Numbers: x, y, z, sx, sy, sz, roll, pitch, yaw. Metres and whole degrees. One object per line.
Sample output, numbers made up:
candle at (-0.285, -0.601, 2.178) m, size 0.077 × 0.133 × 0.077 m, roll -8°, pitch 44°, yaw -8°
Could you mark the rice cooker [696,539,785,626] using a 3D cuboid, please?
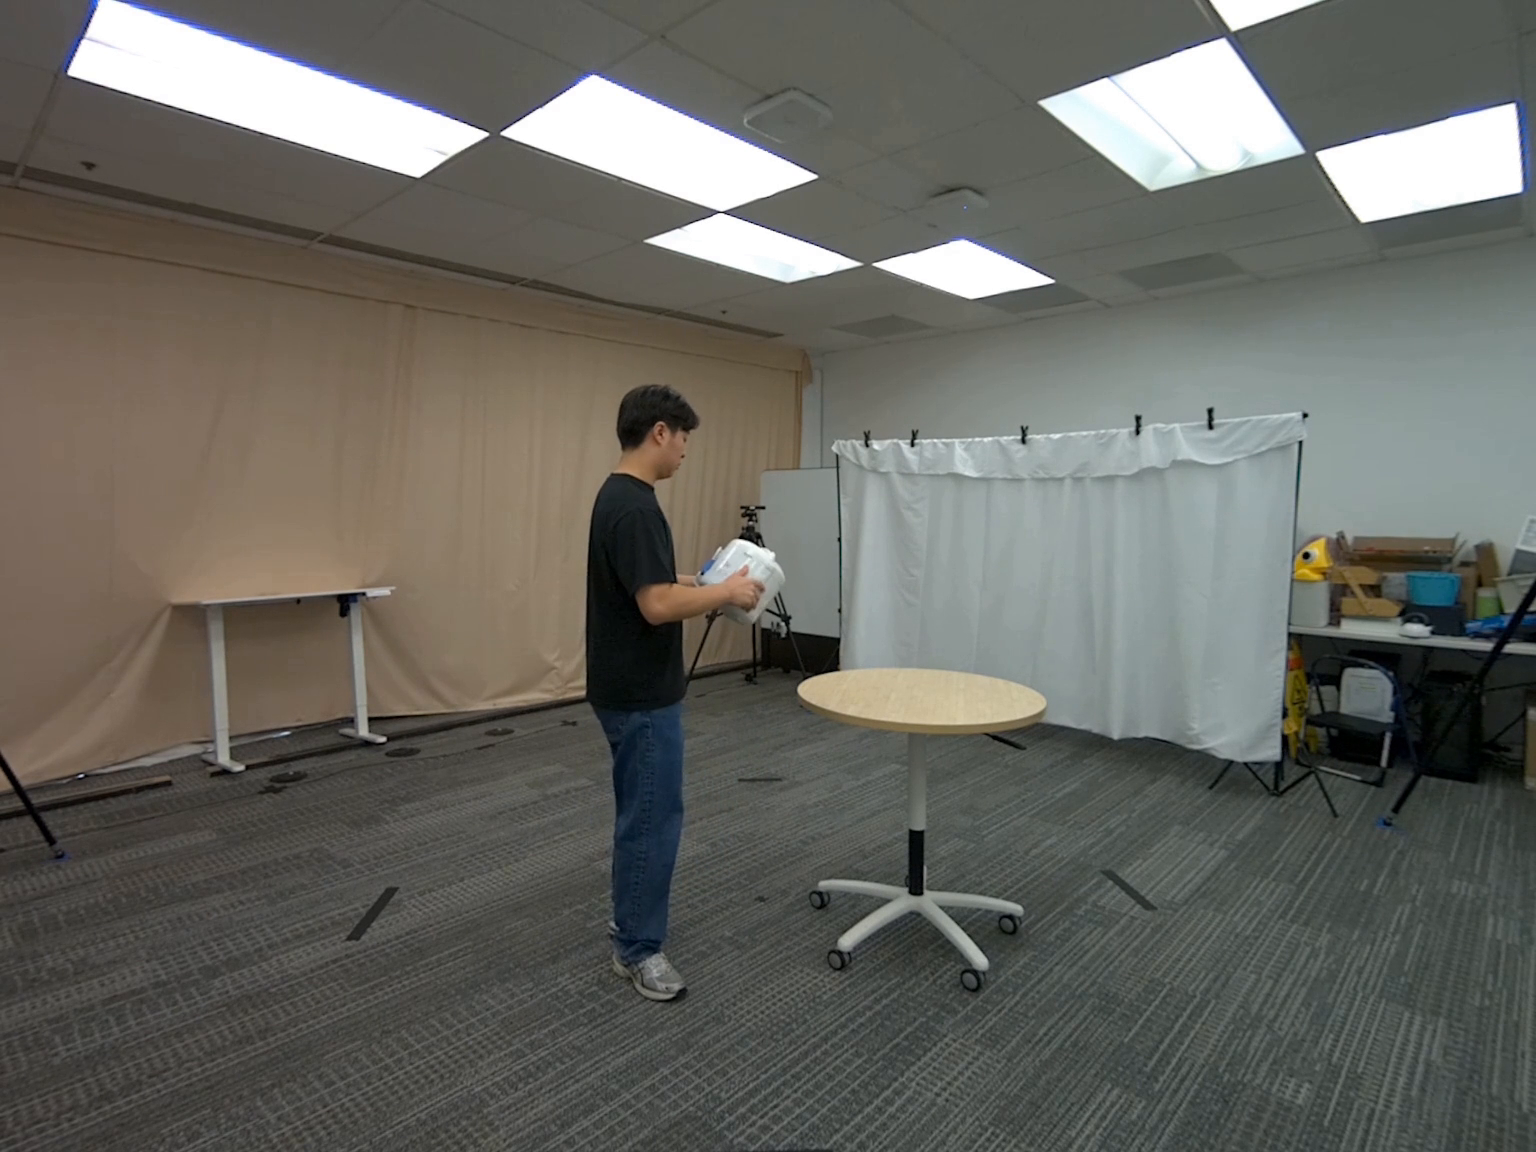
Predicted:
rice cooker at (-0.071, 0.010, 2.578) m, size 0.213 × 0.232 × 0.226 m, roll 42°, pitch -13°, yaw -18°
